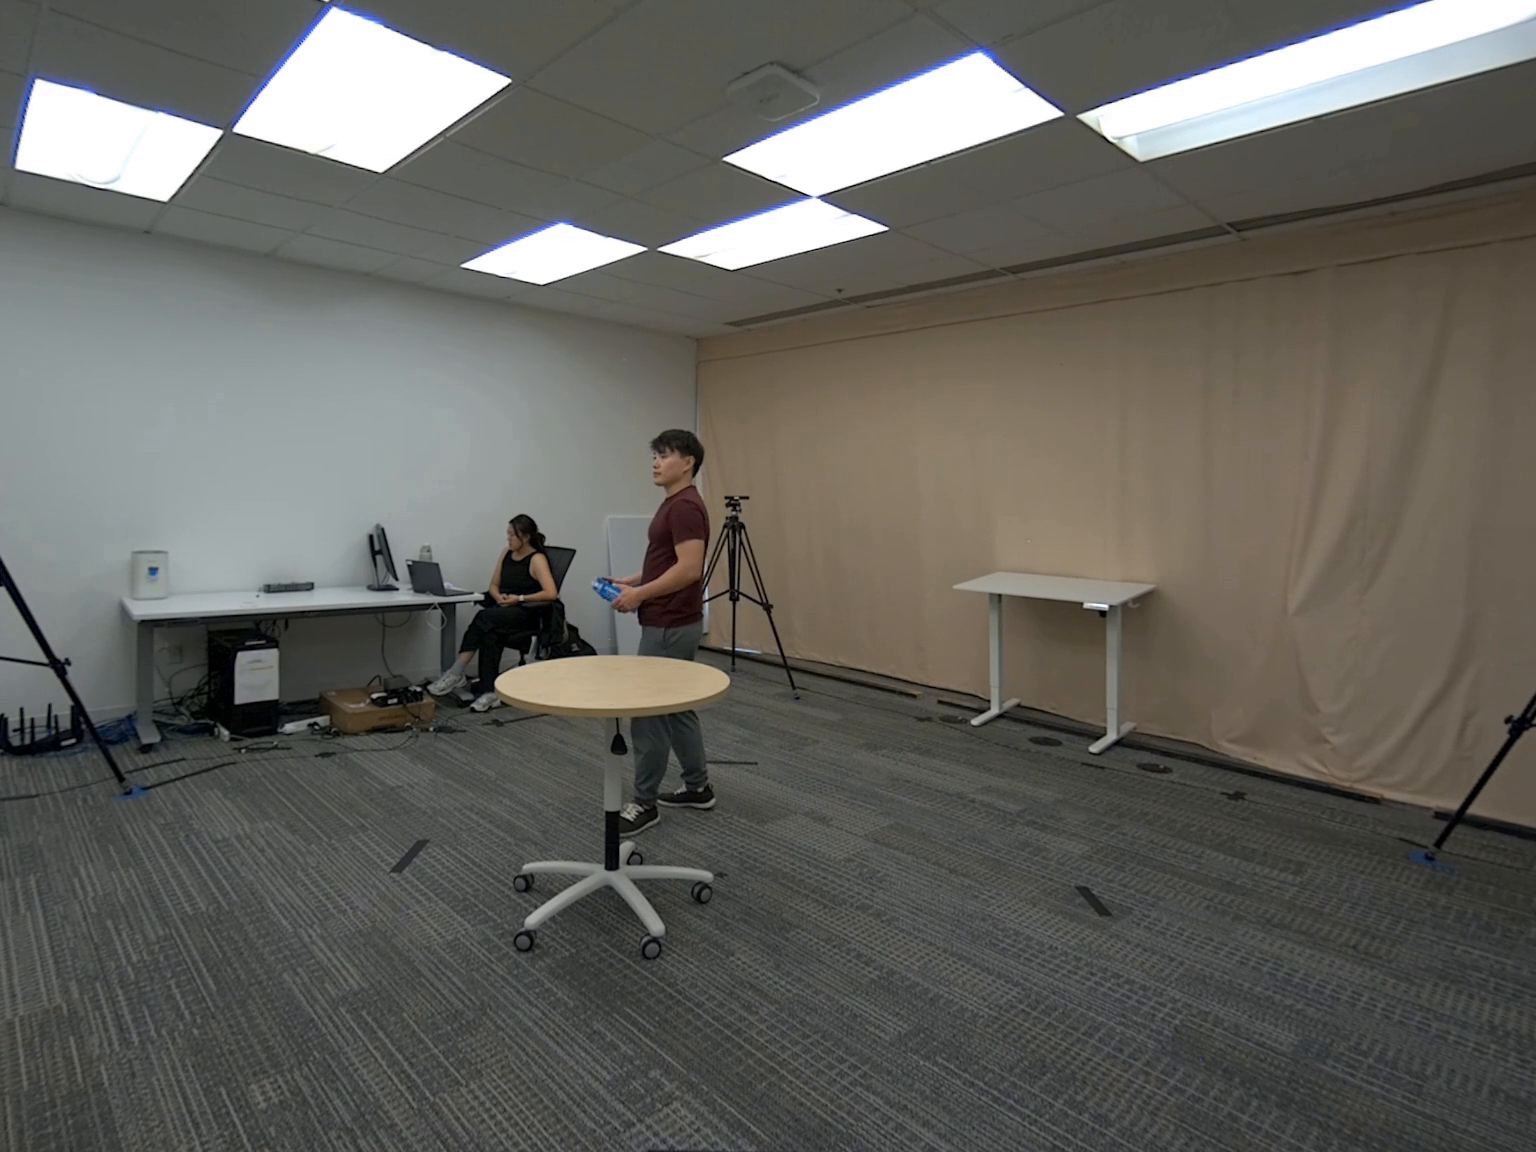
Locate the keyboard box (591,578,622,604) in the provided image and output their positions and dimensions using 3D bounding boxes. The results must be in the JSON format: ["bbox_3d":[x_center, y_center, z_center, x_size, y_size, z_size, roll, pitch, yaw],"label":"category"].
[{"bbox_3d":[-0.661,0.077,3.622,0.173,0.059,0.443,27,-5,-17],"label":"keyboard box"}]
